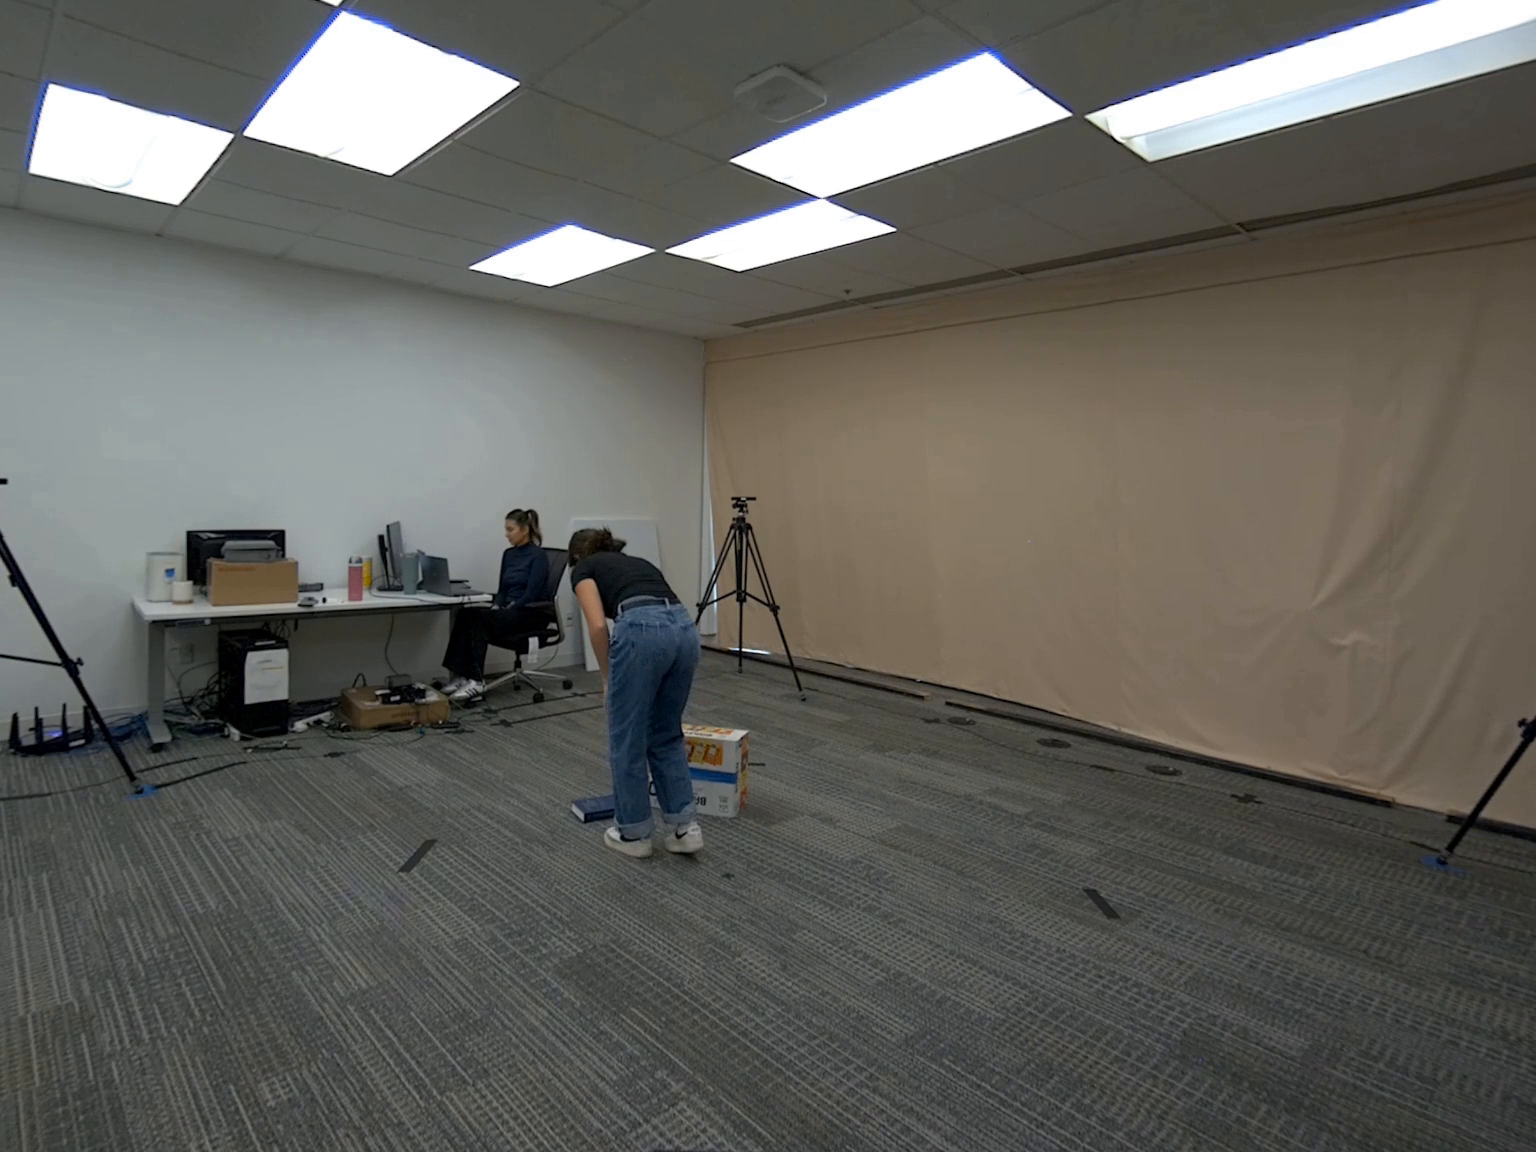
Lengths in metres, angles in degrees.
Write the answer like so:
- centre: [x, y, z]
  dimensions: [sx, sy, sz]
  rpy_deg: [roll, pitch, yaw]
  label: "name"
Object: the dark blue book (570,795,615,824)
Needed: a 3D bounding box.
- centre: [-0.736, 1.022, 3.703]
  dimensions: [0.240, 0.045, 0.167]
  rpy_deg: [-1, 5, -32]
  label: "dark blue book"
